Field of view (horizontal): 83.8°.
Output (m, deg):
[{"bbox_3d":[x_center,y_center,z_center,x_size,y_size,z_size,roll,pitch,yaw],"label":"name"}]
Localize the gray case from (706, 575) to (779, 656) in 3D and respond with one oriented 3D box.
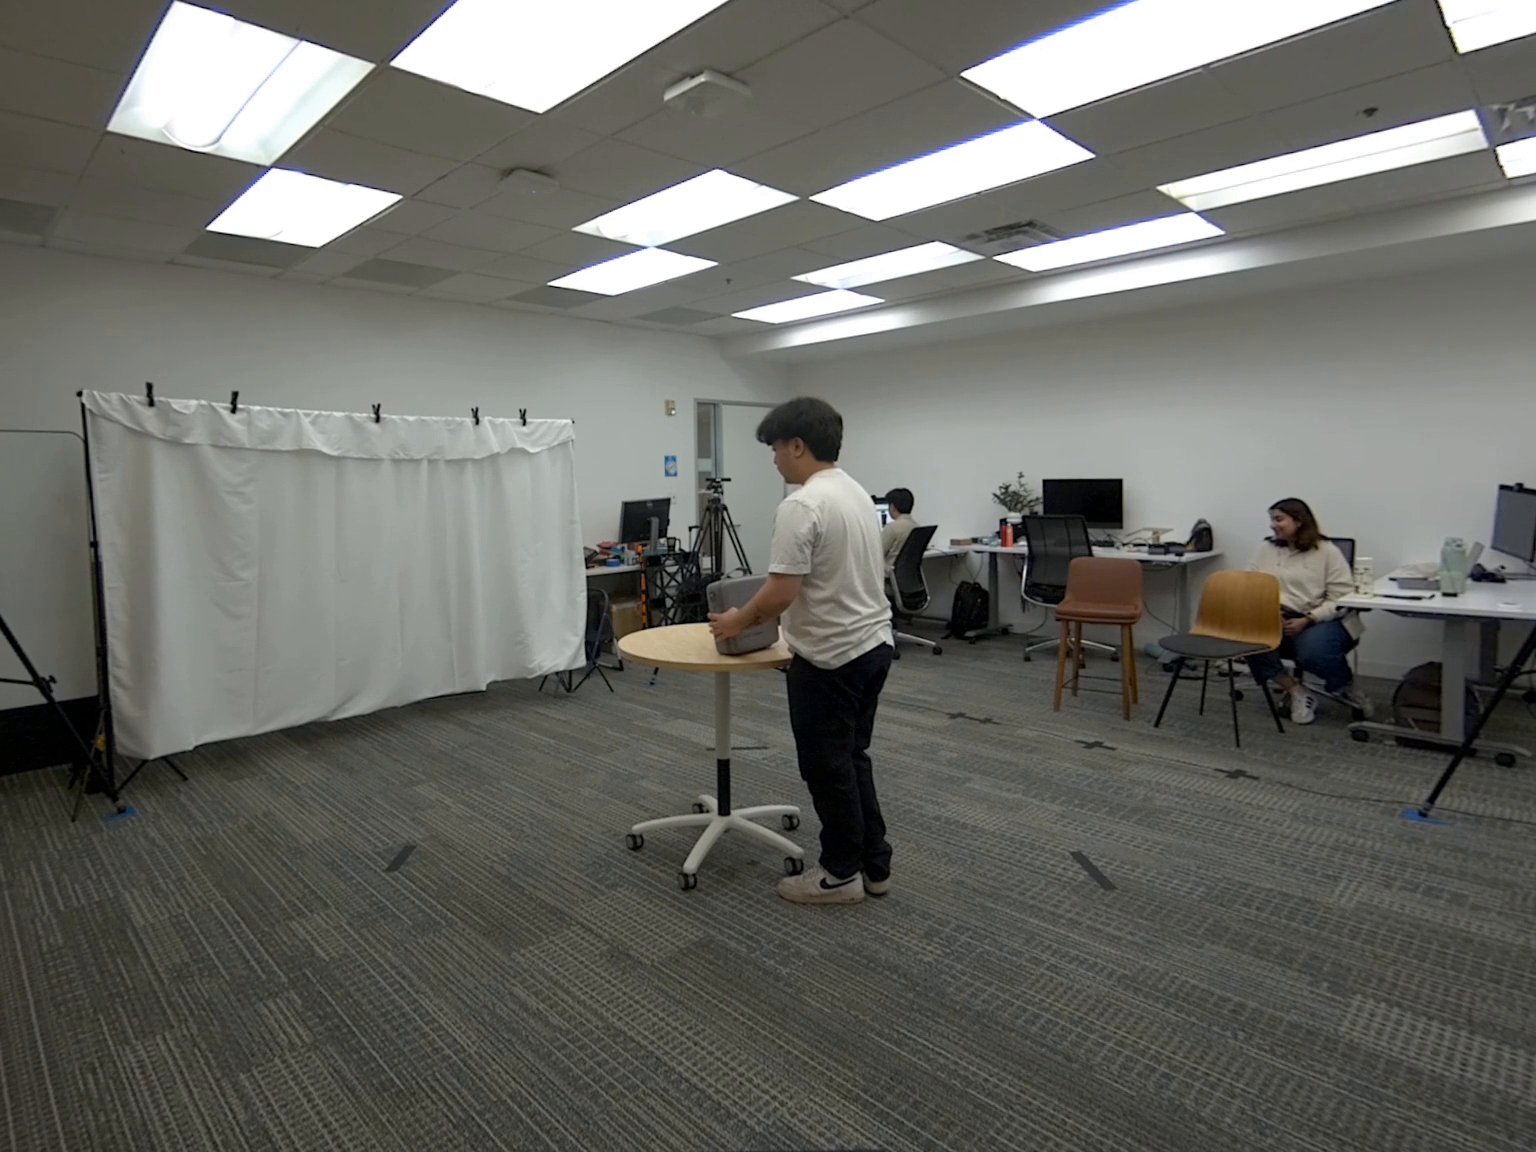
[{"bbox_3d":[-0.081,0.124,2.989,0.106,0.262,0.250,-13,-5,43],"label":"gray case"}]
